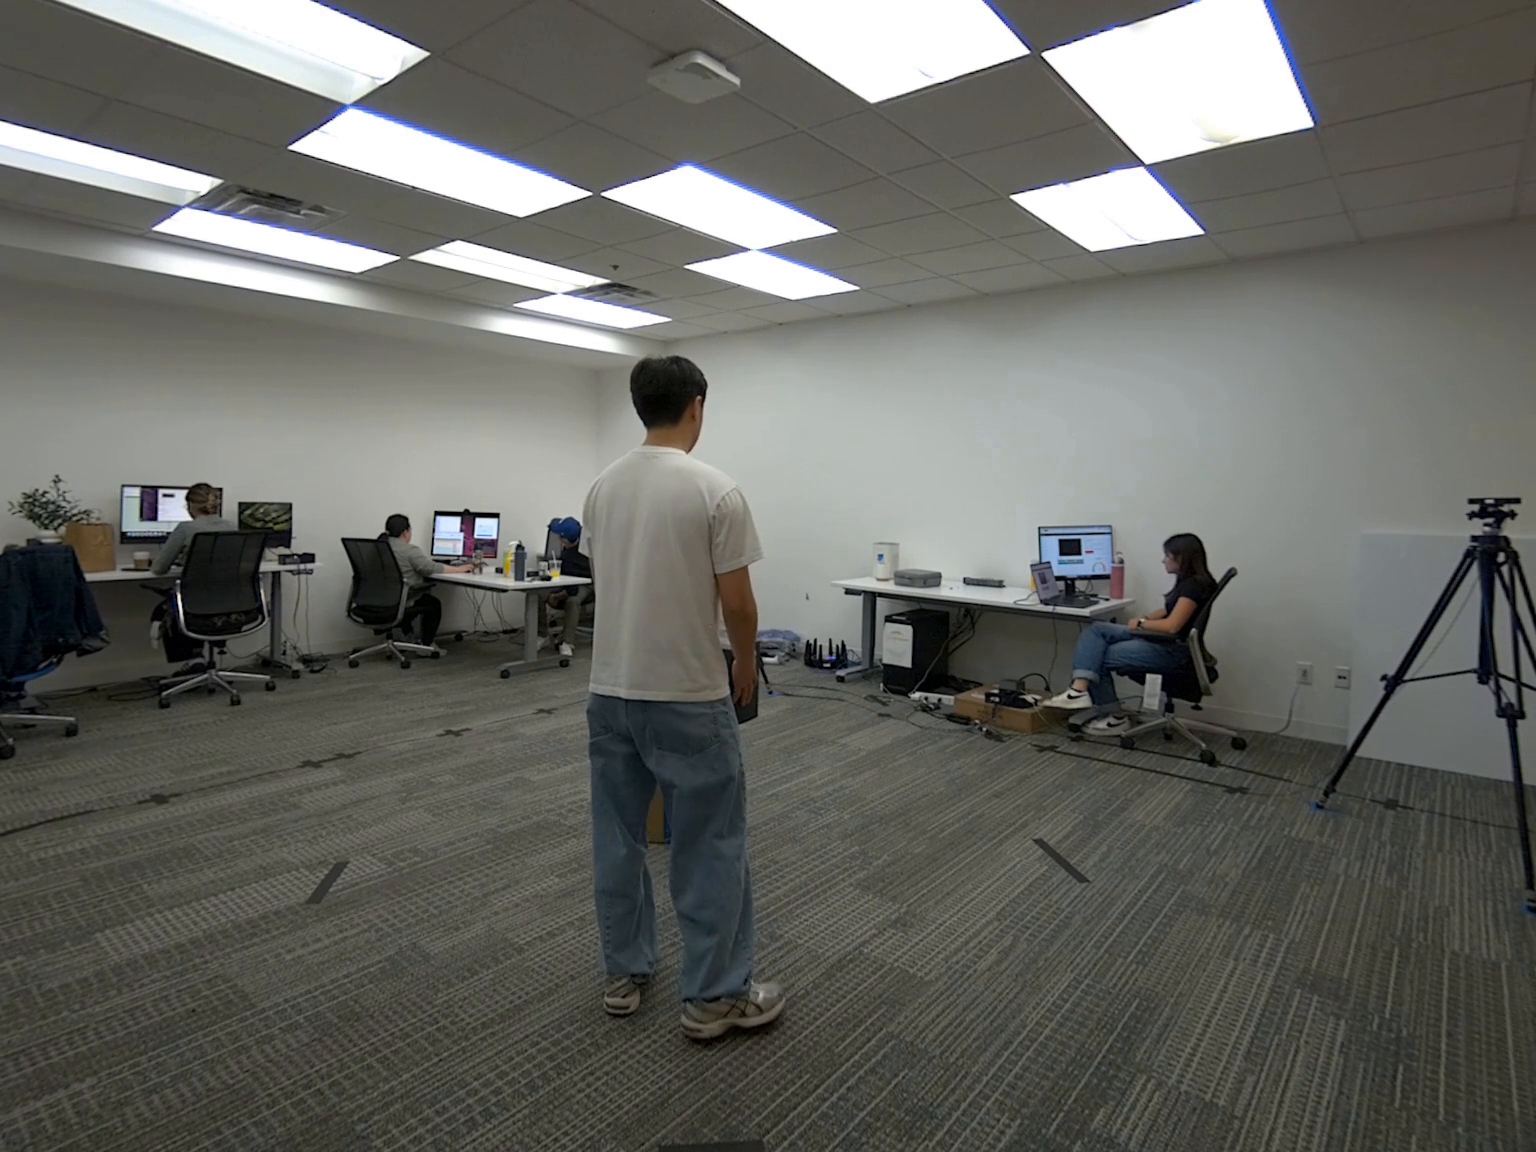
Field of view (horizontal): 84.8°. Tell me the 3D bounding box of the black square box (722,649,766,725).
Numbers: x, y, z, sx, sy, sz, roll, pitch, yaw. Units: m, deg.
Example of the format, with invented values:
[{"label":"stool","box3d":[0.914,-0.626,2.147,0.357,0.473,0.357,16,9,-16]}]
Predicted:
[{"label":"black square box","box3d":[-0.148,0.298,2.510,0.223,0.227,0.152,4,4,30]}]
